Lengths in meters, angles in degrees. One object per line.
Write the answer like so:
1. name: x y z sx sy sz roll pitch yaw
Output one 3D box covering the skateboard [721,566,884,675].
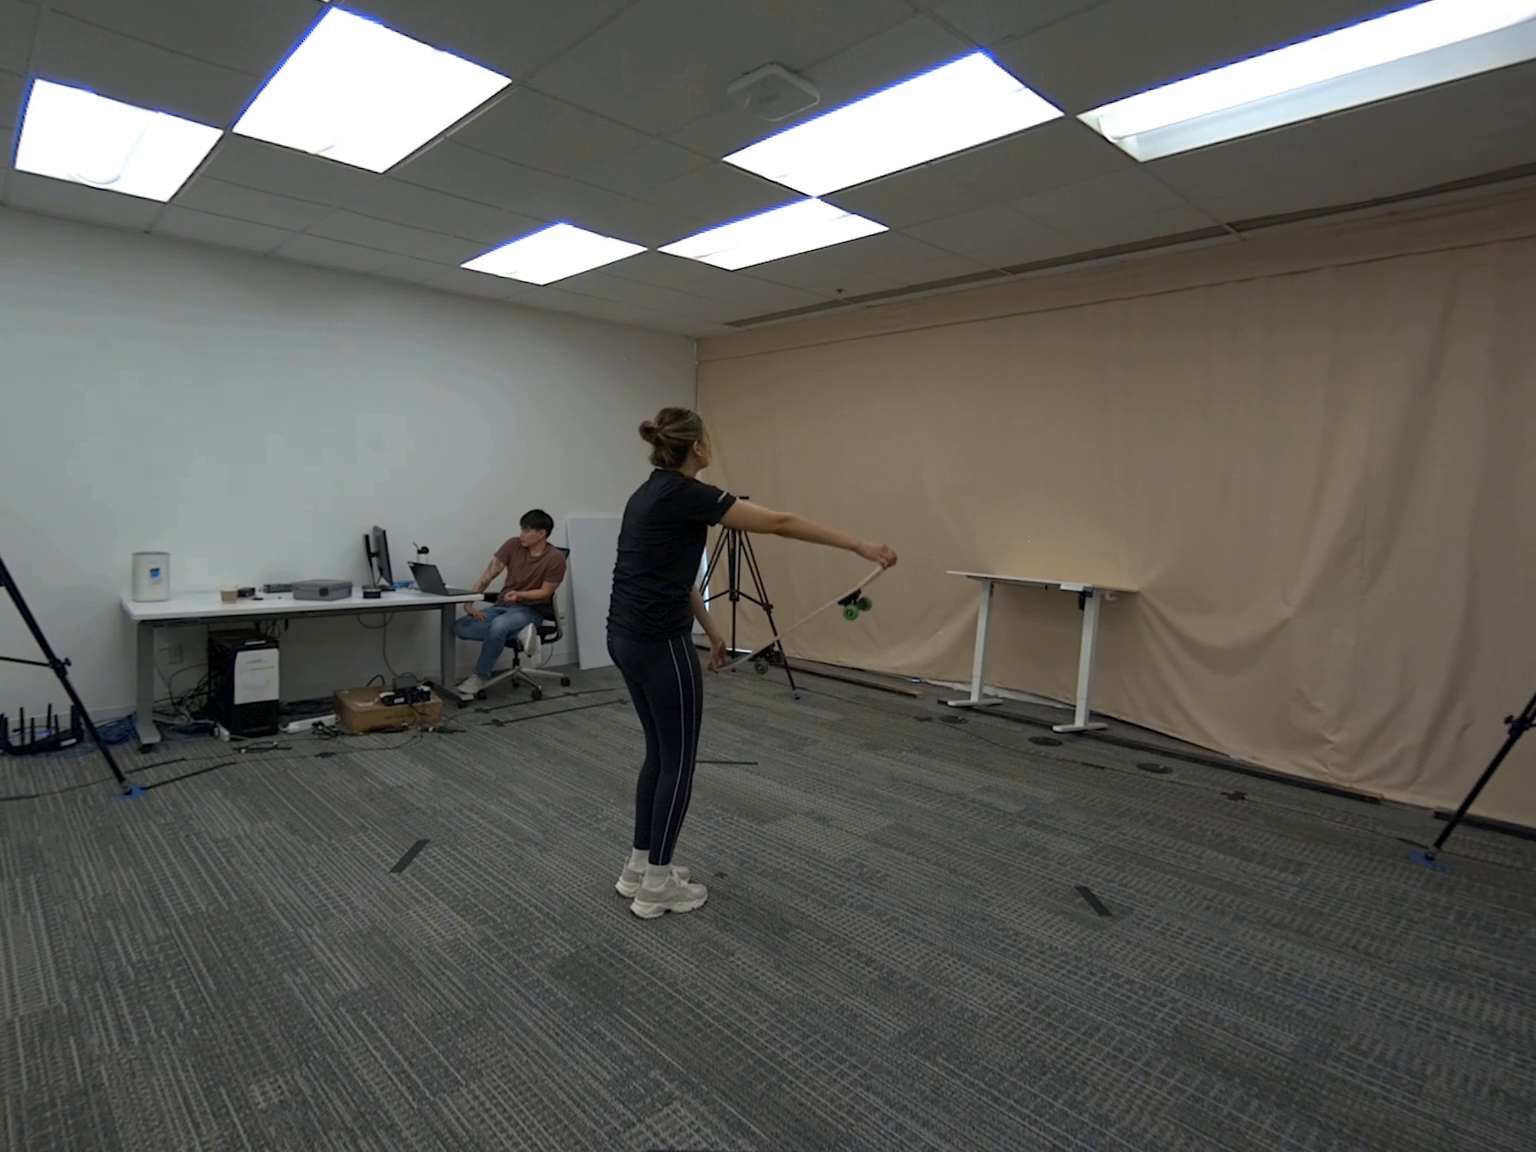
1. skateboard: 0.131 0.186 2.941 0.789 0.111 0.191 -34 -6 26
